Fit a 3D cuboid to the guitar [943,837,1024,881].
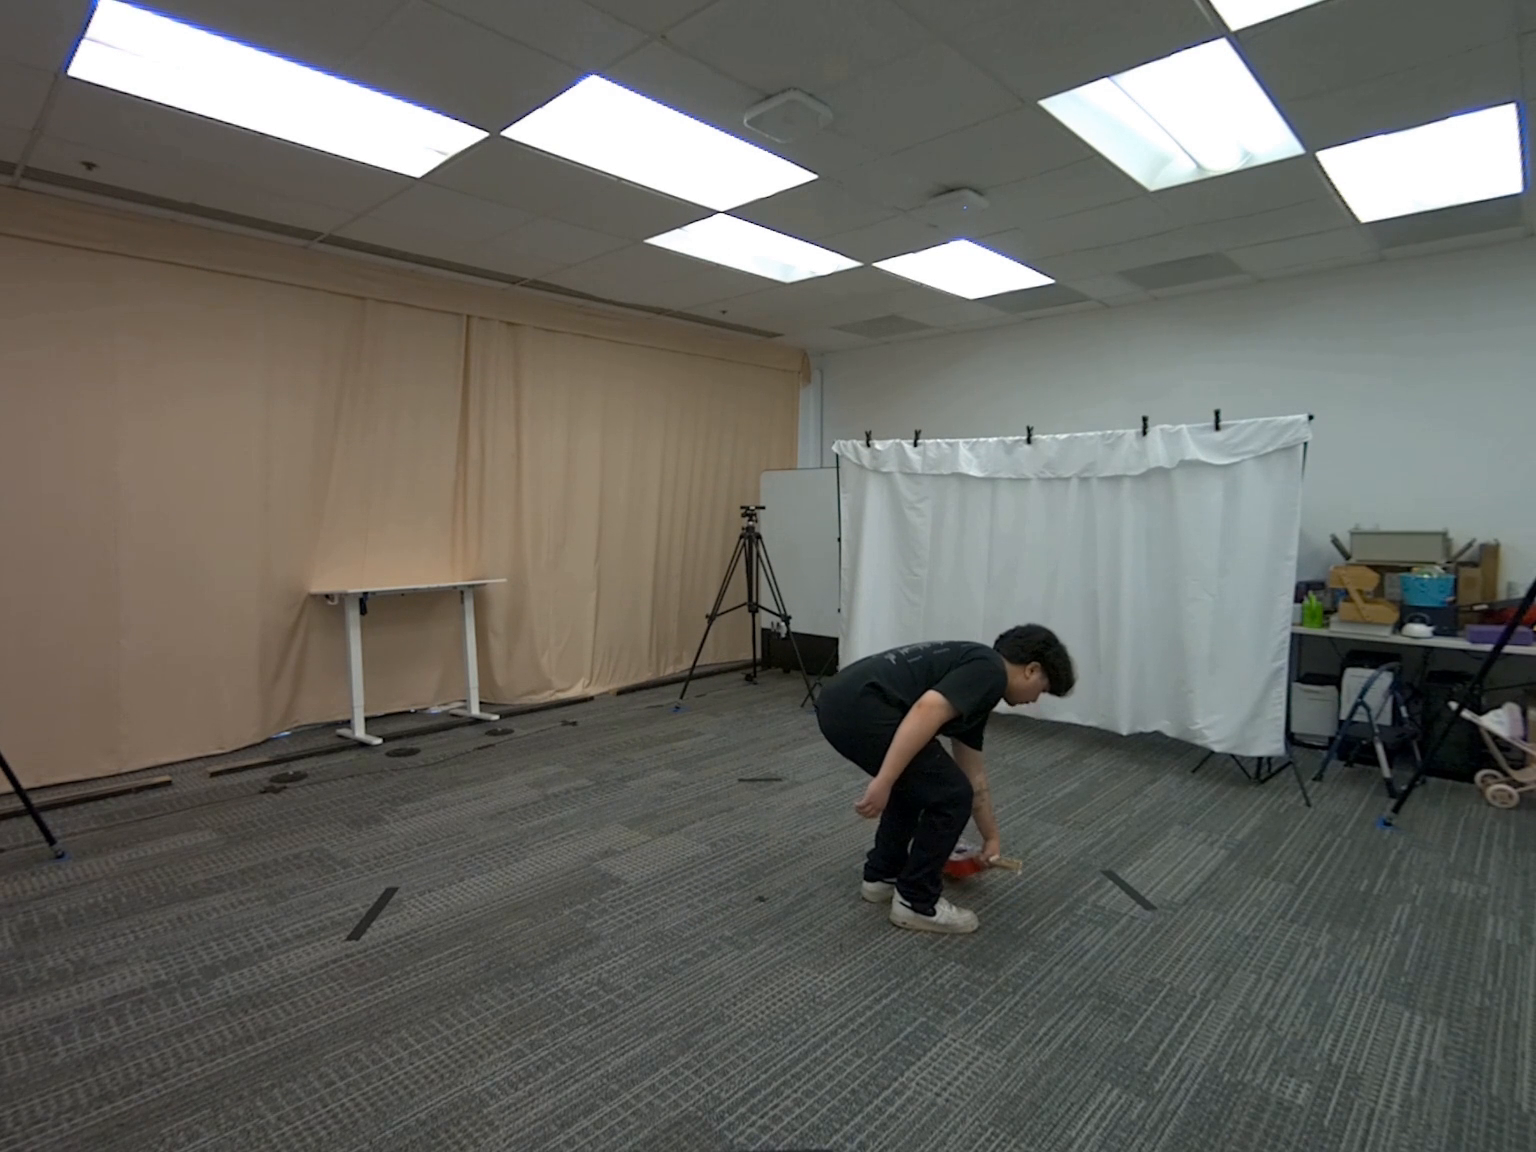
[{"bbox_3d":[0.722,1.032,3.033,0.191,0.071,0.501,-12,-4,-14],"label":"guitar"}]
